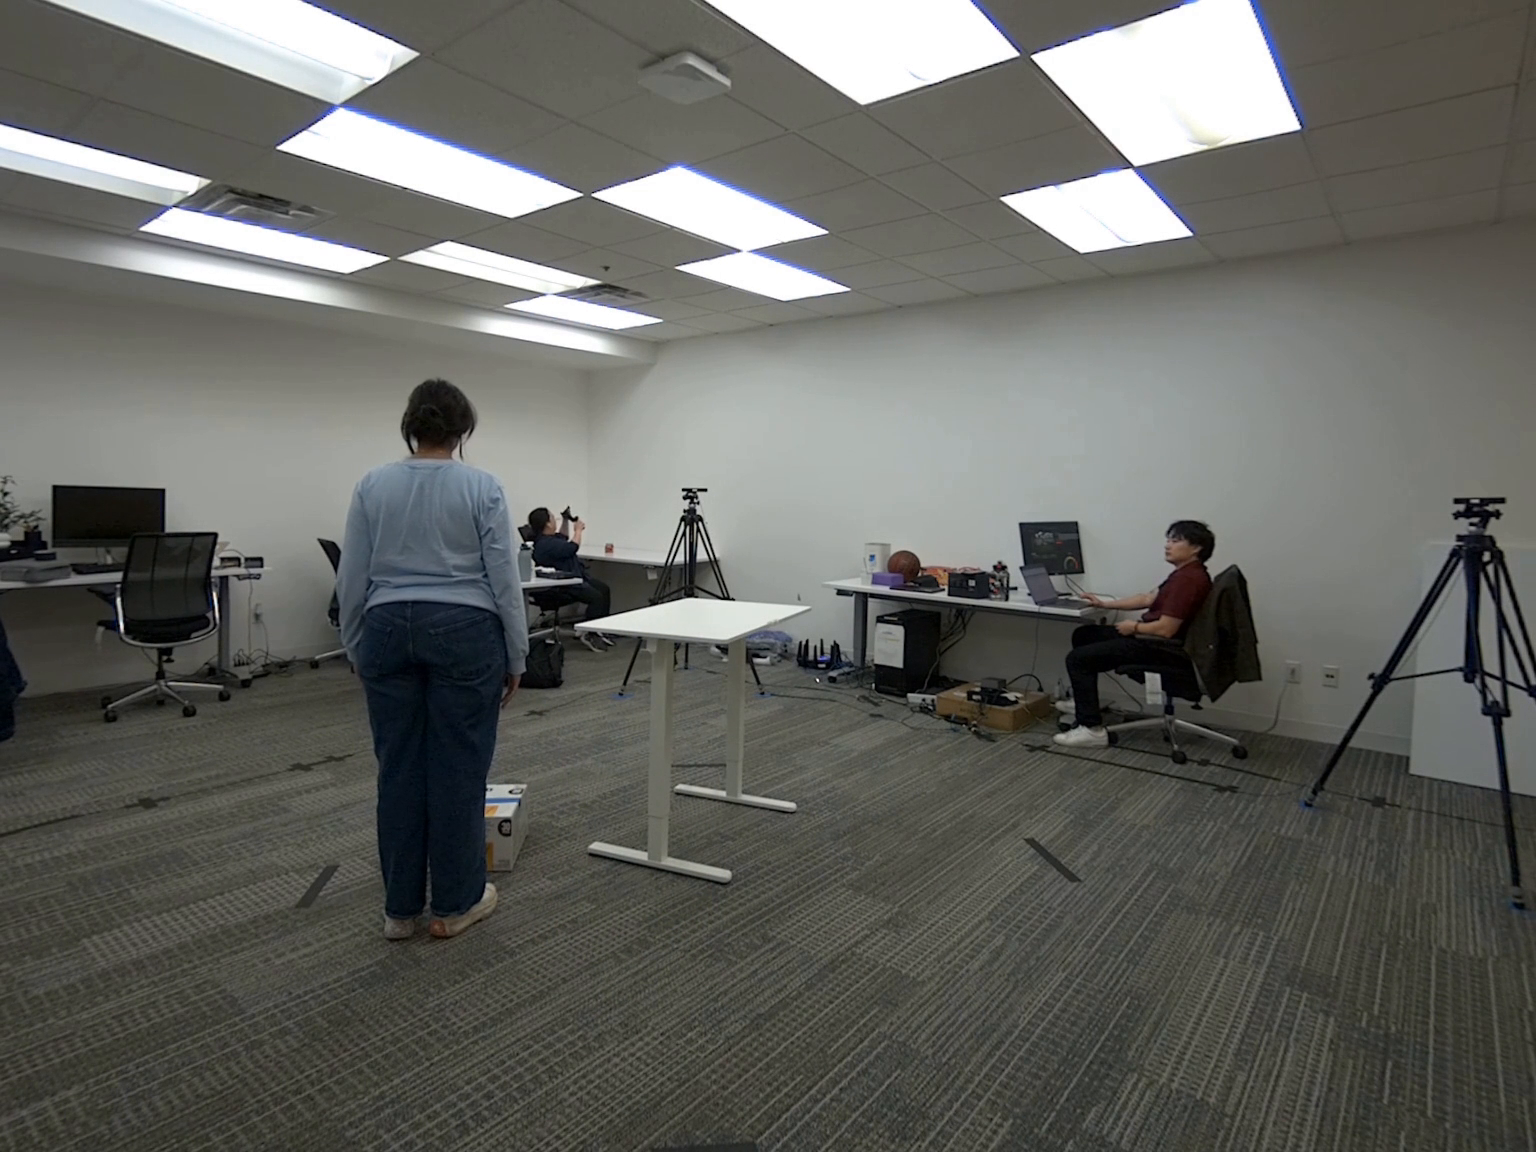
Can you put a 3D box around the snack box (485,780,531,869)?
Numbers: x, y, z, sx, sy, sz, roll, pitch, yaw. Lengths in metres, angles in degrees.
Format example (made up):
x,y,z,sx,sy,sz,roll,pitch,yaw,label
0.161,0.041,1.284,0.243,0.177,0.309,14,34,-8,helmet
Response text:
x,y,z,sx,sy,sz,roll,pitch,yaw,label
-1.140,0.939,3.202,0.403,0.205,0.343,0,5,-5,snack box
